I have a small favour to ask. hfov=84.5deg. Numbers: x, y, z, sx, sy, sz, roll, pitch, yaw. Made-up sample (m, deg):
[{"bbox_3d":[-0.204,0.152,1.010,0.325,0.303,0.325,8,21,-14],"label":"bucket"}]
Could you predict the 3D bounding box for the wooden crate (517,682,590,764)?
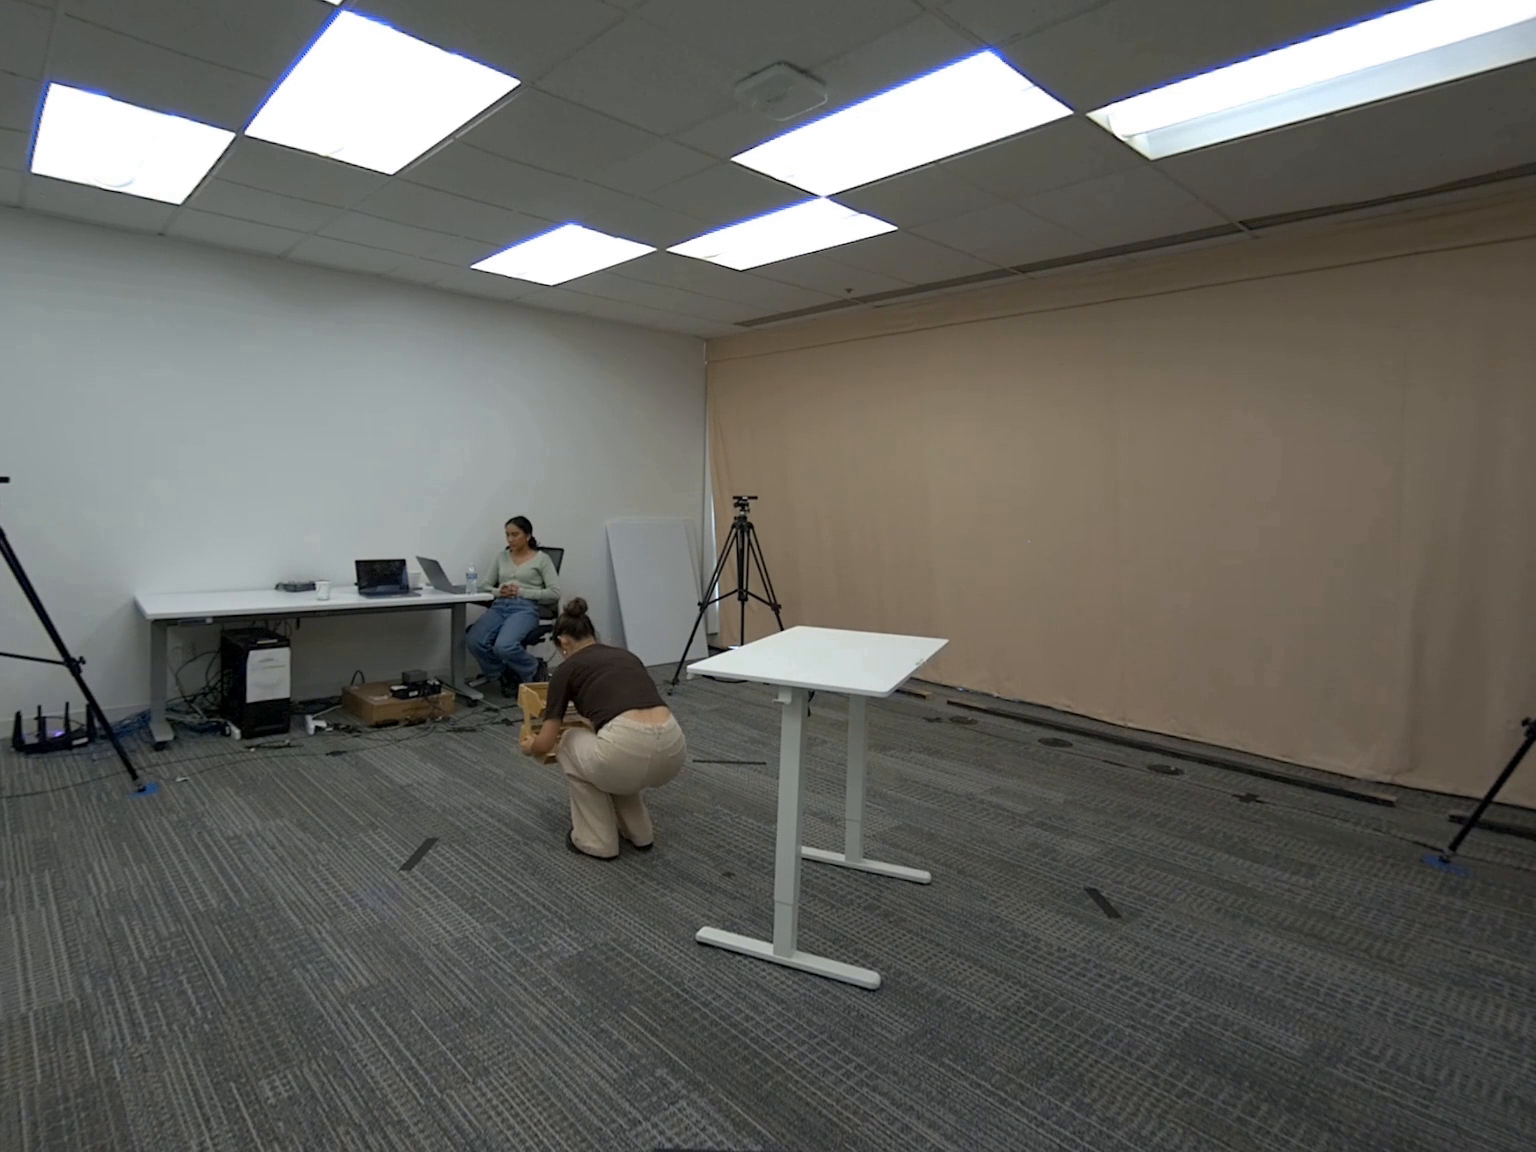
[{"bbox_3d":[-0.880,0.615,3.618,0.316,0.272,0.310,3,8,-42],"label":"wooden crate"}]
